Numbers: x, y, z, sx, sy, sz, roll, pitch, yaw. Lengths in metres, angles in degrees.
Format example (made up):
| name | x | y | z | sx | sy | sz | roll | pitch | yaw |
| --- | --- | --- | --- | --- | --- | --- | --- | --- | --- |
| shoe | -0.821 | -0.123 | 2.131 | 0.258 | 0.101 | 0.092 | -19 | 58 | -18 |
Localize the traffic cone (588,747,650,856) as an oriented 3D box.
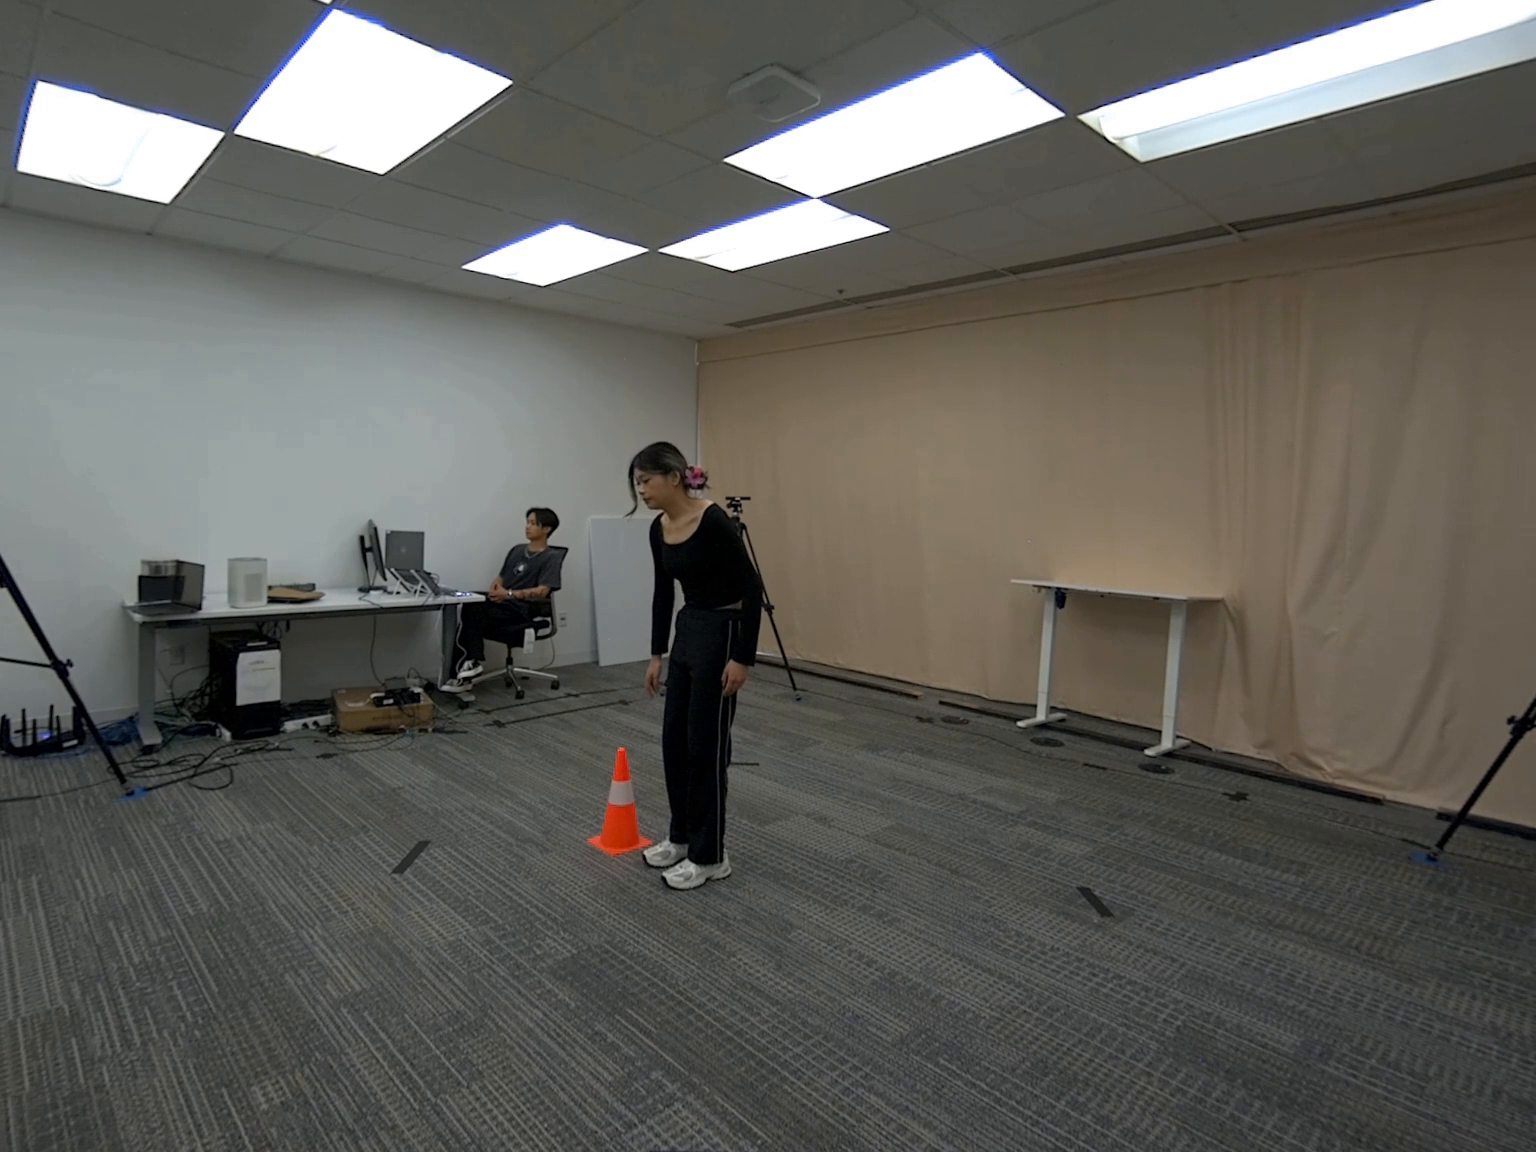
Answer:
| name | x | y | z | sx | sy | sz | roll | pitch | yaw |
| --- | --- | --- | --- | --- | --- | --- | --- | --- | --- |
| traffic cone | -0.602 | 0.884 | 3.381 | 0.201 | 0.383 | 0.208 | 0 | 2 | -31 |
